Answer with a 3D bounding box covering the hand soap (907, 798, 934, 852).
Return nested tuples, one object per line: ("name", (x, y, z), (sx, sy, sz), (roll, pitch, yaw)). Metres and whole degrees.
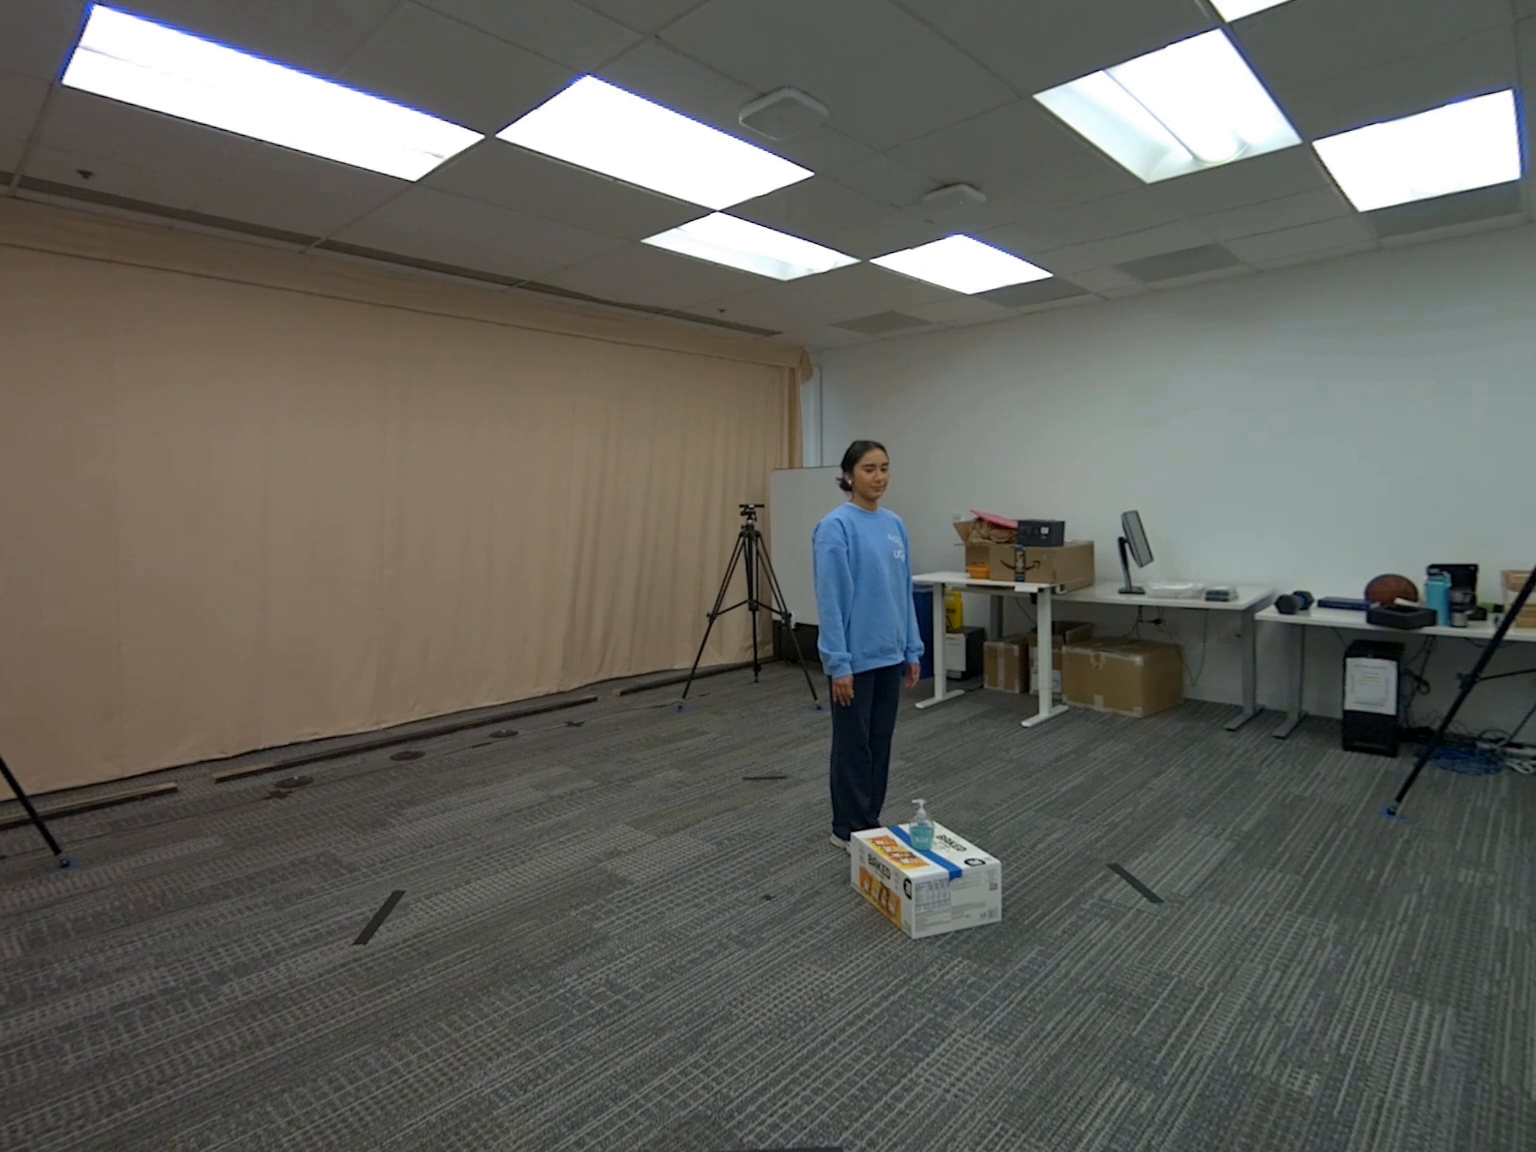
("hand soap", (0.531, 0.854, 2.911), (0.085, 0.167, 0.043), (-1, 5, 8))
